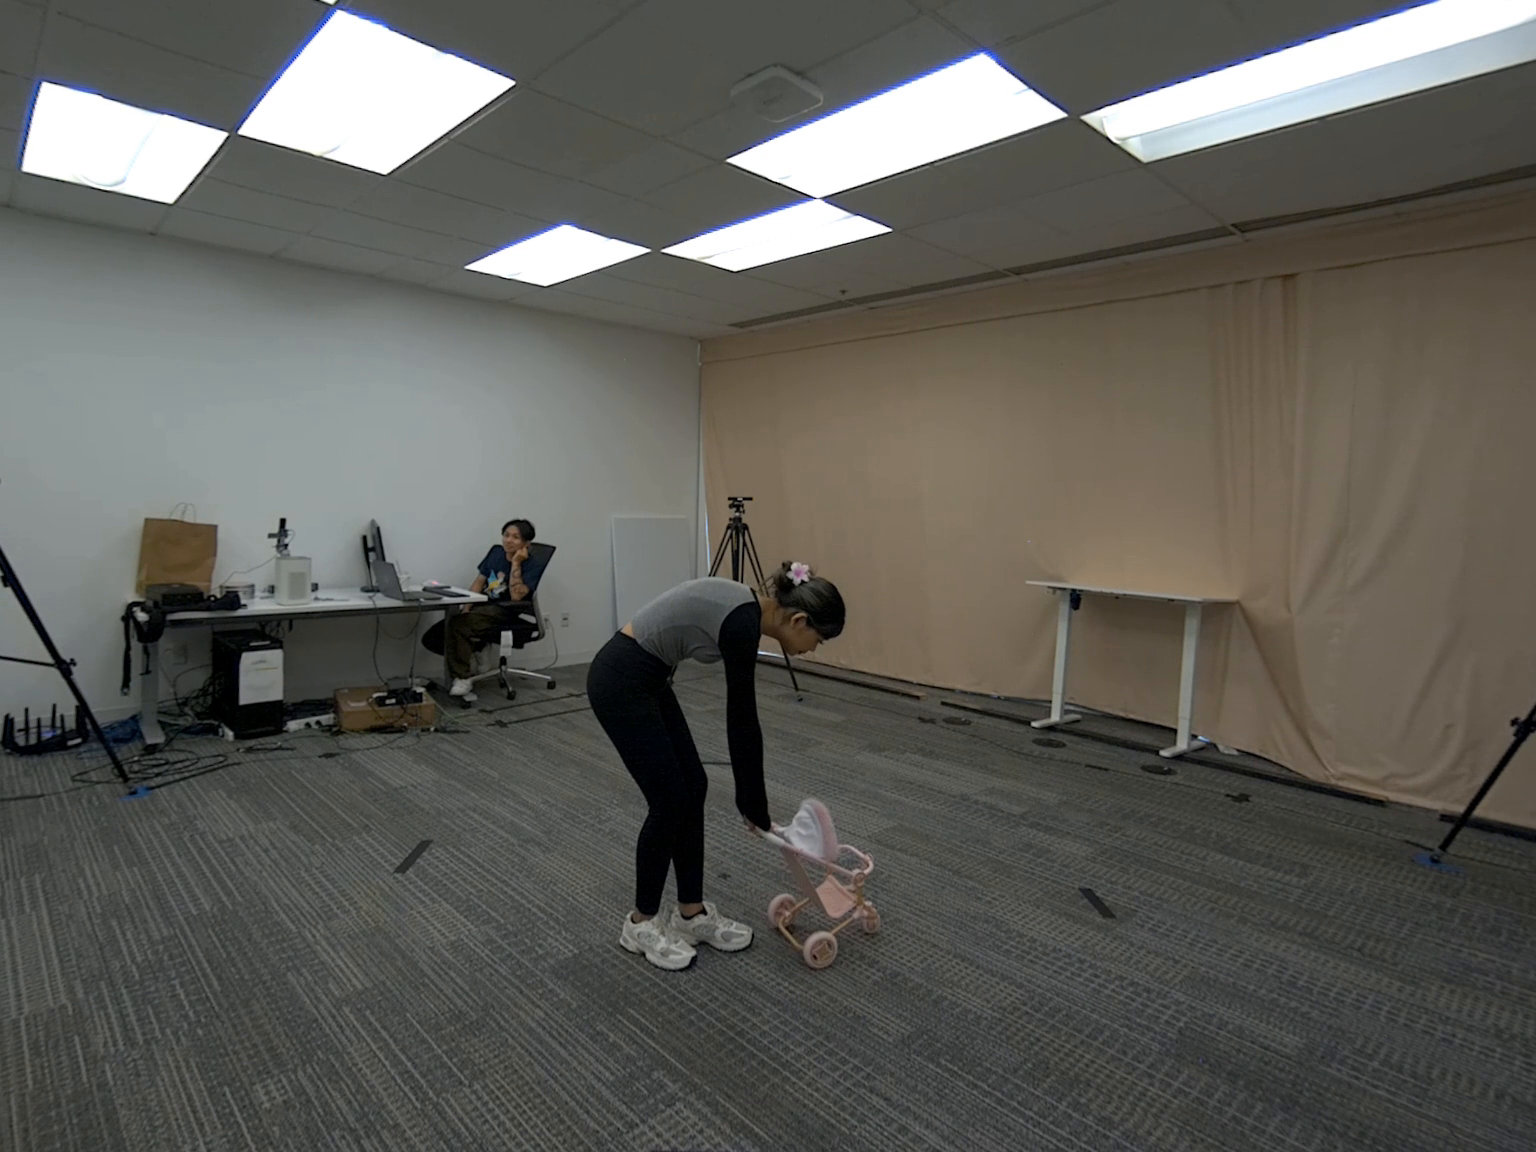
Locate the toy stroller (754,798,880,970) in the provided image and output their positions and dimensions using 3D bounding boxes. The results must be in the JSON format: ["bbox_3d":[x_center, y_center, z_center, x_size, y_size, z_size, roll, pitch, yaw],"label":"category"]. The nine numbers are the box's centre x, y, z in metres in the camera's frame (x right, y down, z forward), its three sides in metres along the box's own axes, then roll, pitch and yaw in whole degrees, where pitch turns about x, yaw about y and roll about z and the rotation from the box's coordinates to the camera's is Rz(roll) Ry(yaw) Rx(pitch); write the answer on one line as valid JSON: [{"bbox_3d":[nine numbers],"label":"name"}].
[{"bbox_3d":[0.156,0.932,2.633,0.338,0.530,0.286,-17,10,-18],"label":"toy stroller"}]
